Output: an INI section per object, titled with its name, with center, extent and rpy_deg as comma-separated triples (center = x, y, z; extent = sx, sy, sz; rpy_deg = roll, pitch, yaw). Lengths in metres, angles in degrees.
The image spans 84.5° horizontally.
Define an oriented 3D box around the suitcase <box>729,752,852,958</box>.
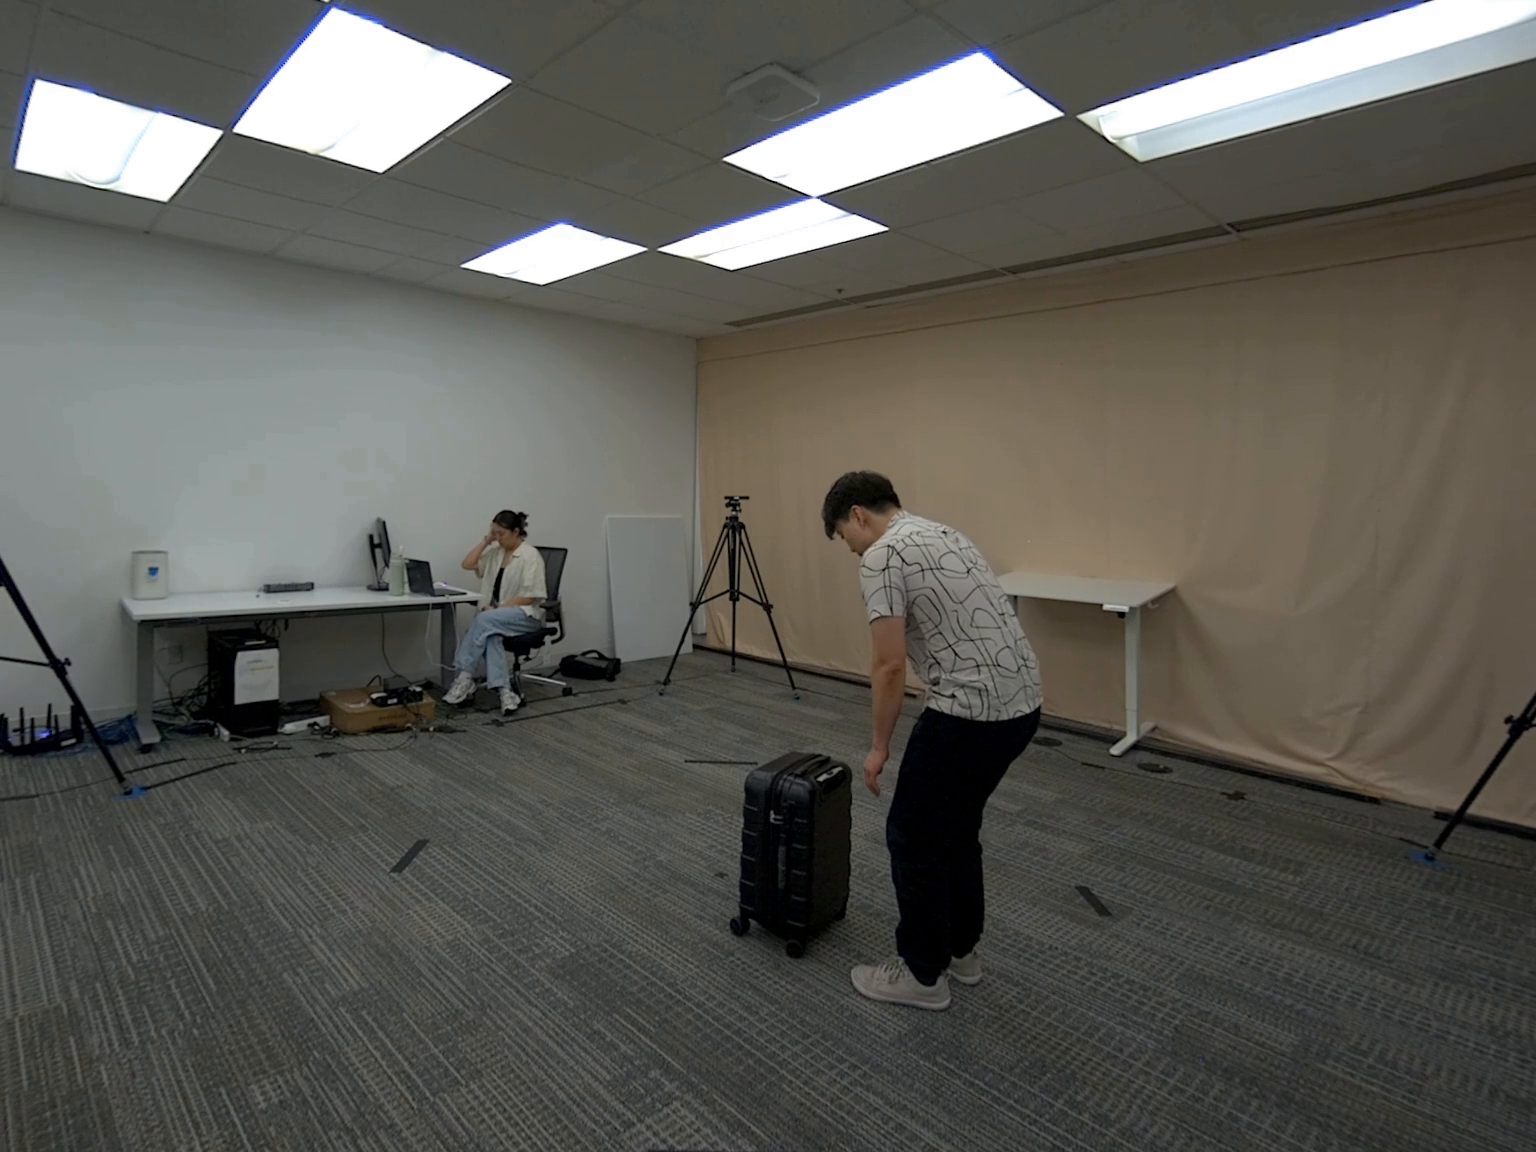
[suitcase]
center = 0.087, 0.869, 2.725
extent = 0.254, 0.547, 0.368
rpy_deg = 5, 6, 32
